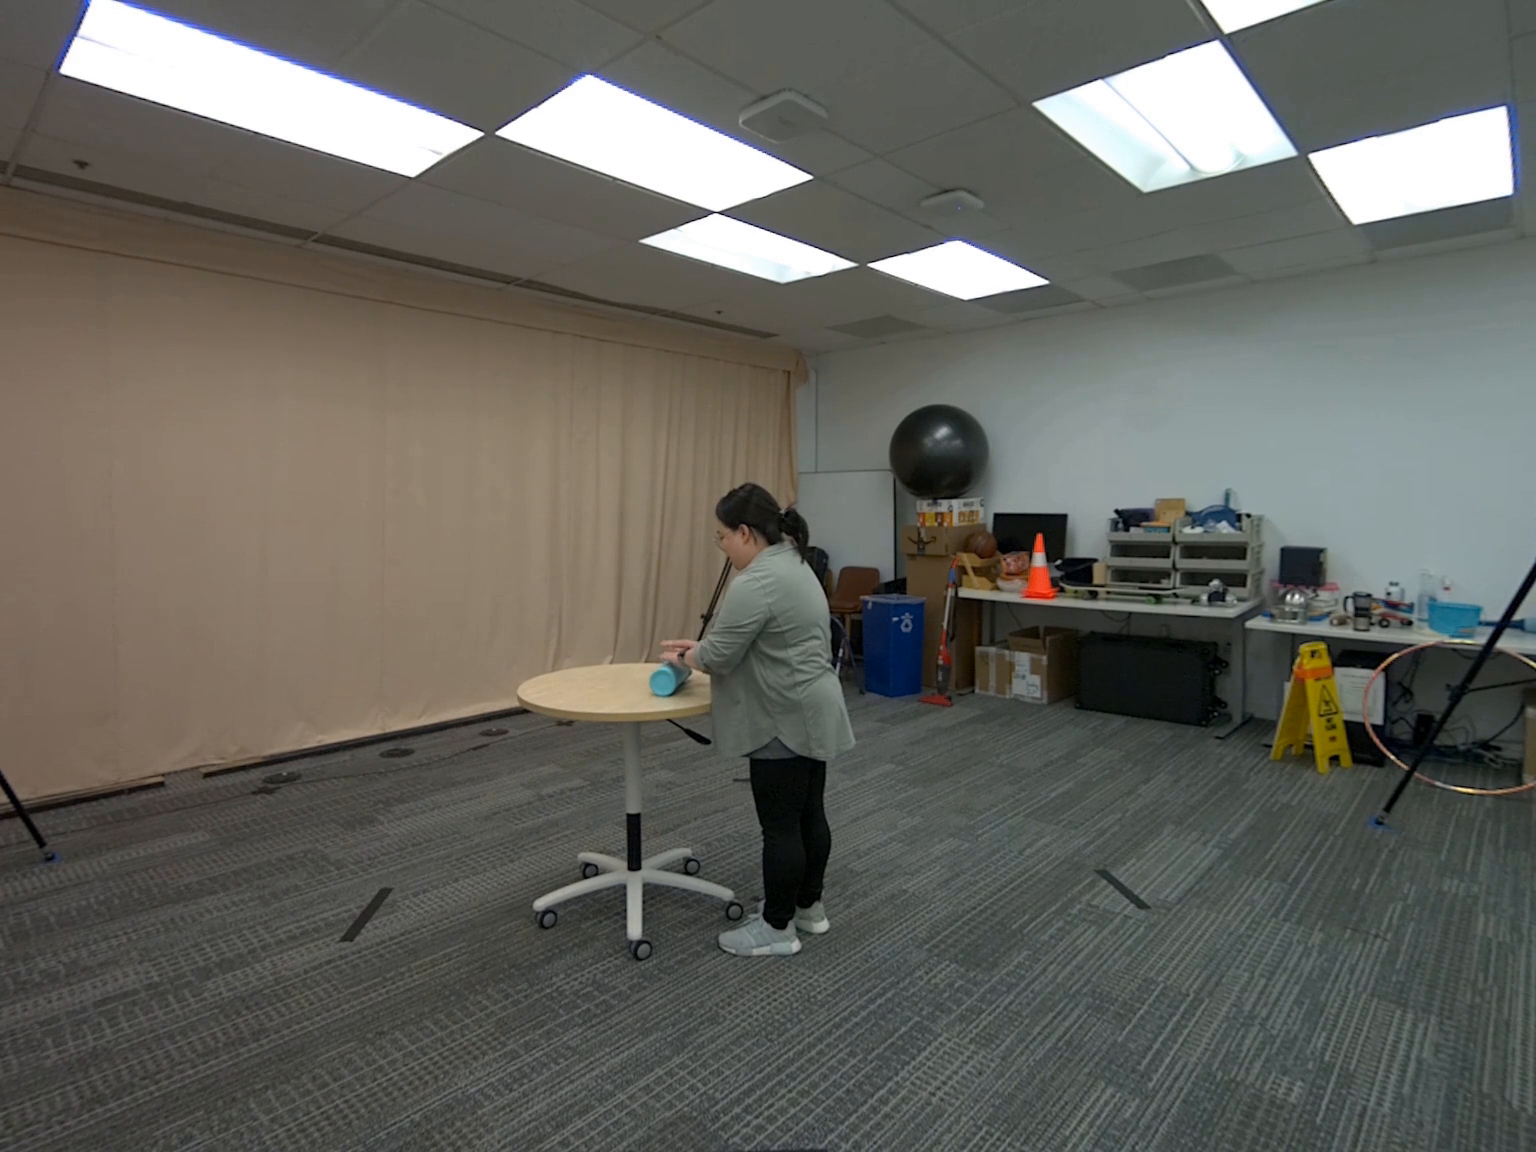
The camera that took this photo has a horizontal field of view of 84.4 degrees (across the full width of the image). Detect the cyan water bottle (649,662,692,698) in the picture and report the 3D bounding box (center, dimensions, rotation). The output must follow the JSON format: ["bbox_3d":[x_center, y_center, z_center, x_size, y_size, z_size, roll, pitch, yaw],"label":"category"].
[{"bbox_3d":[-0.318,0.331,2.834,0.093,0.092,0.281,1,5,9],"label":"cyan water bottle"}]
